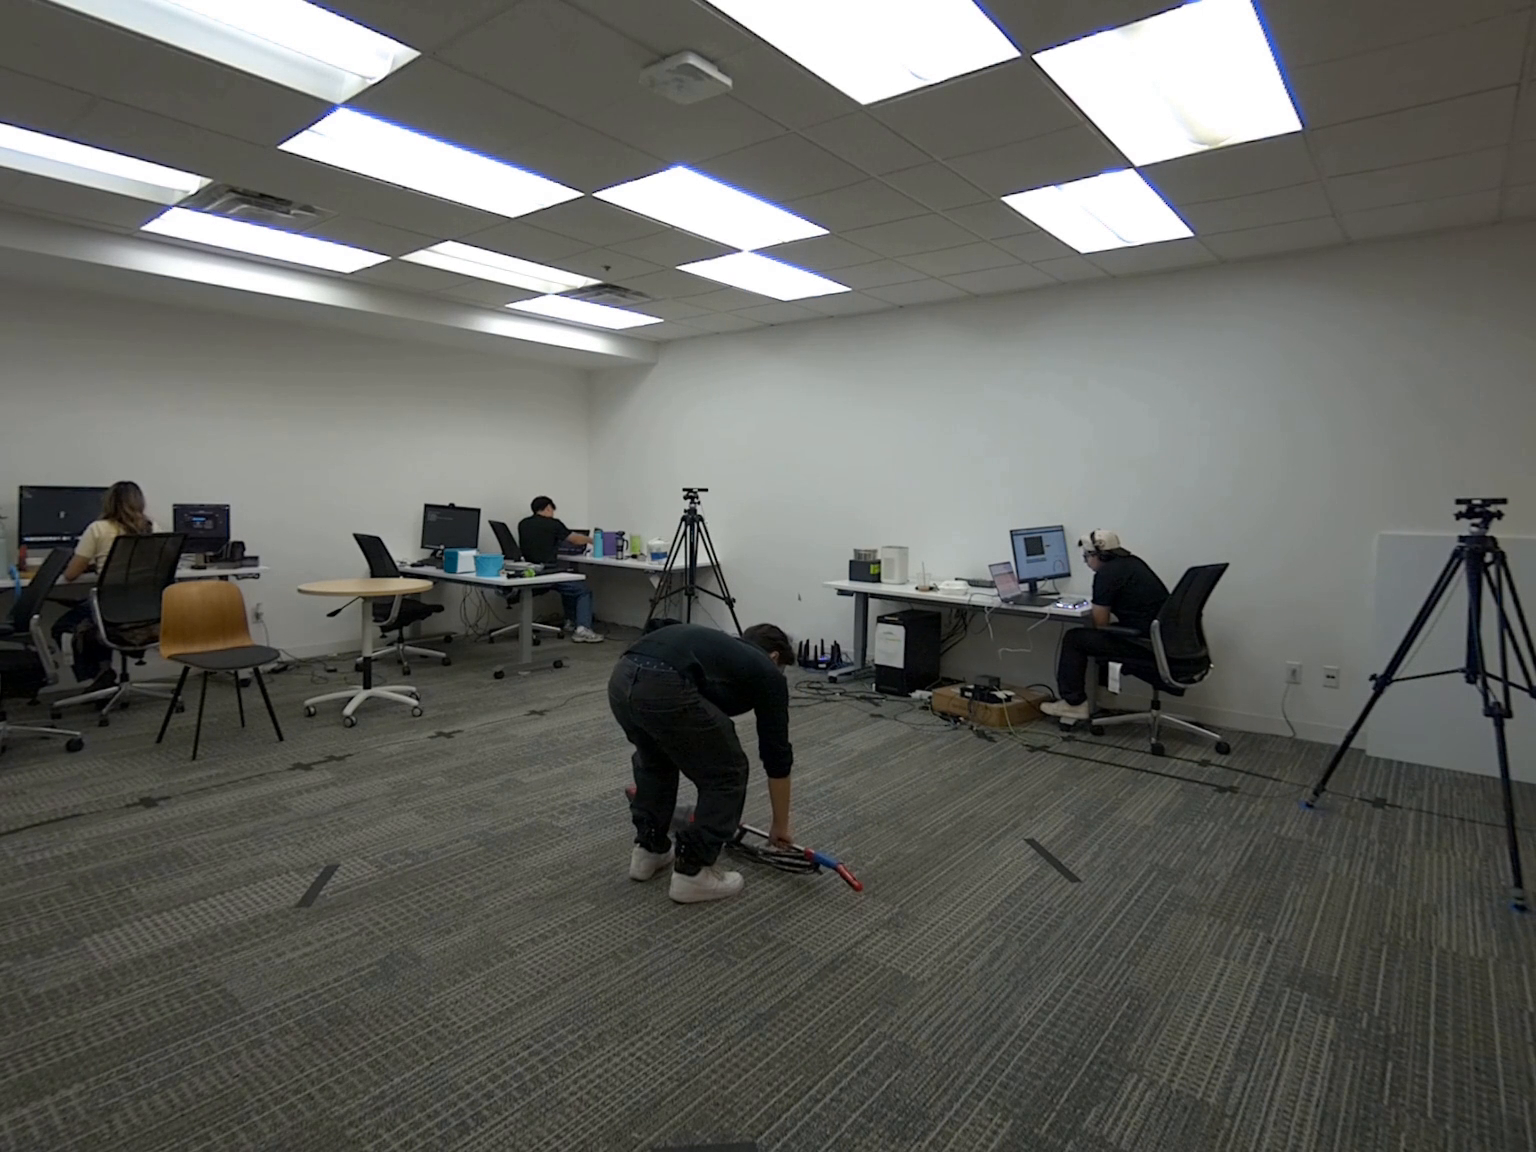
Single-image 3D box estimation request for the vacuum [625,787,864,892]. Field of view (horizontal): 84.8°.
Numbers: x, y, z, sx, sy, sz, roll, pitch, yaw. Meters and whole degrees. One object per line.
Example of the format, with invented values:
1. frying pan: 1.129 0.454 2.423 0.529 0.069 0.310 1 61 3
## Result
1. vacuum: -0.085 0.982 3.227 1.086 0.143 0.245 7 7 42
